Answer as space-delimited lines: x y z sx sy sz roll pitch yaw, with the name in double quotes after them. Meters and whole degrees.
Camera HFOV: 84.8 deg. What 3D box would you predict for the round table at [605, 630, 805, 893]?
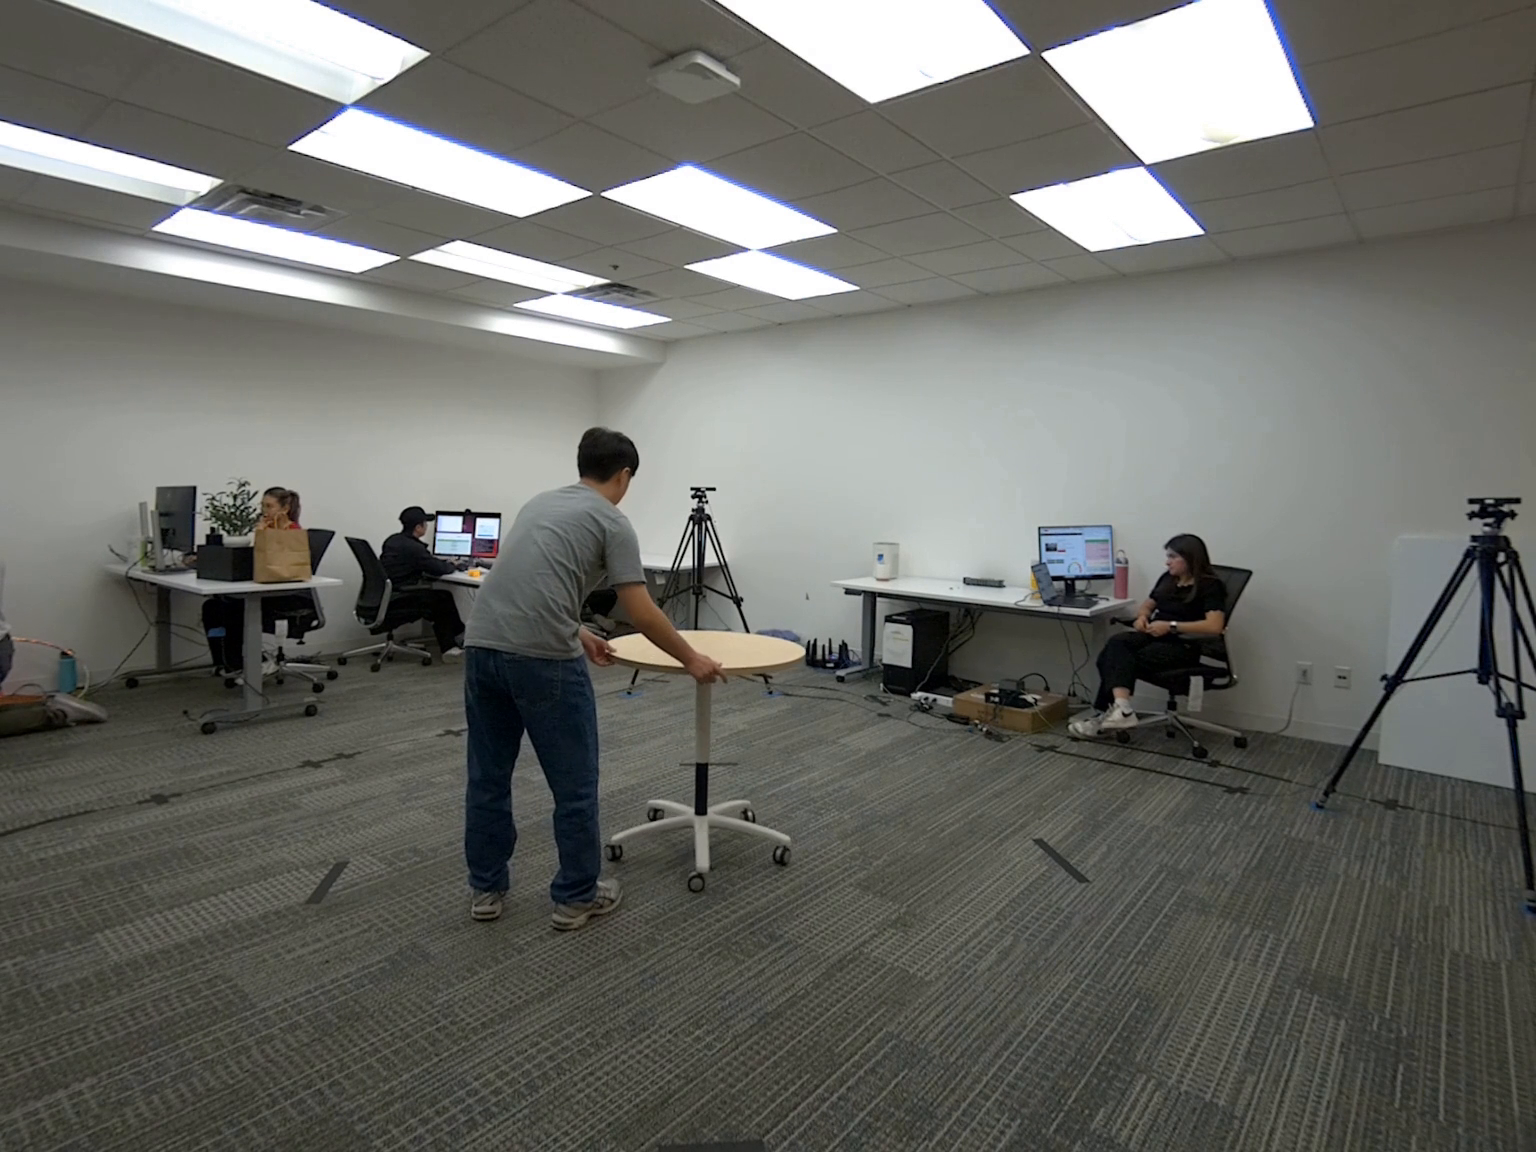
-0.259 0.661 3.245 0.763 0.792 0.767 1 4 -2 "round table"
